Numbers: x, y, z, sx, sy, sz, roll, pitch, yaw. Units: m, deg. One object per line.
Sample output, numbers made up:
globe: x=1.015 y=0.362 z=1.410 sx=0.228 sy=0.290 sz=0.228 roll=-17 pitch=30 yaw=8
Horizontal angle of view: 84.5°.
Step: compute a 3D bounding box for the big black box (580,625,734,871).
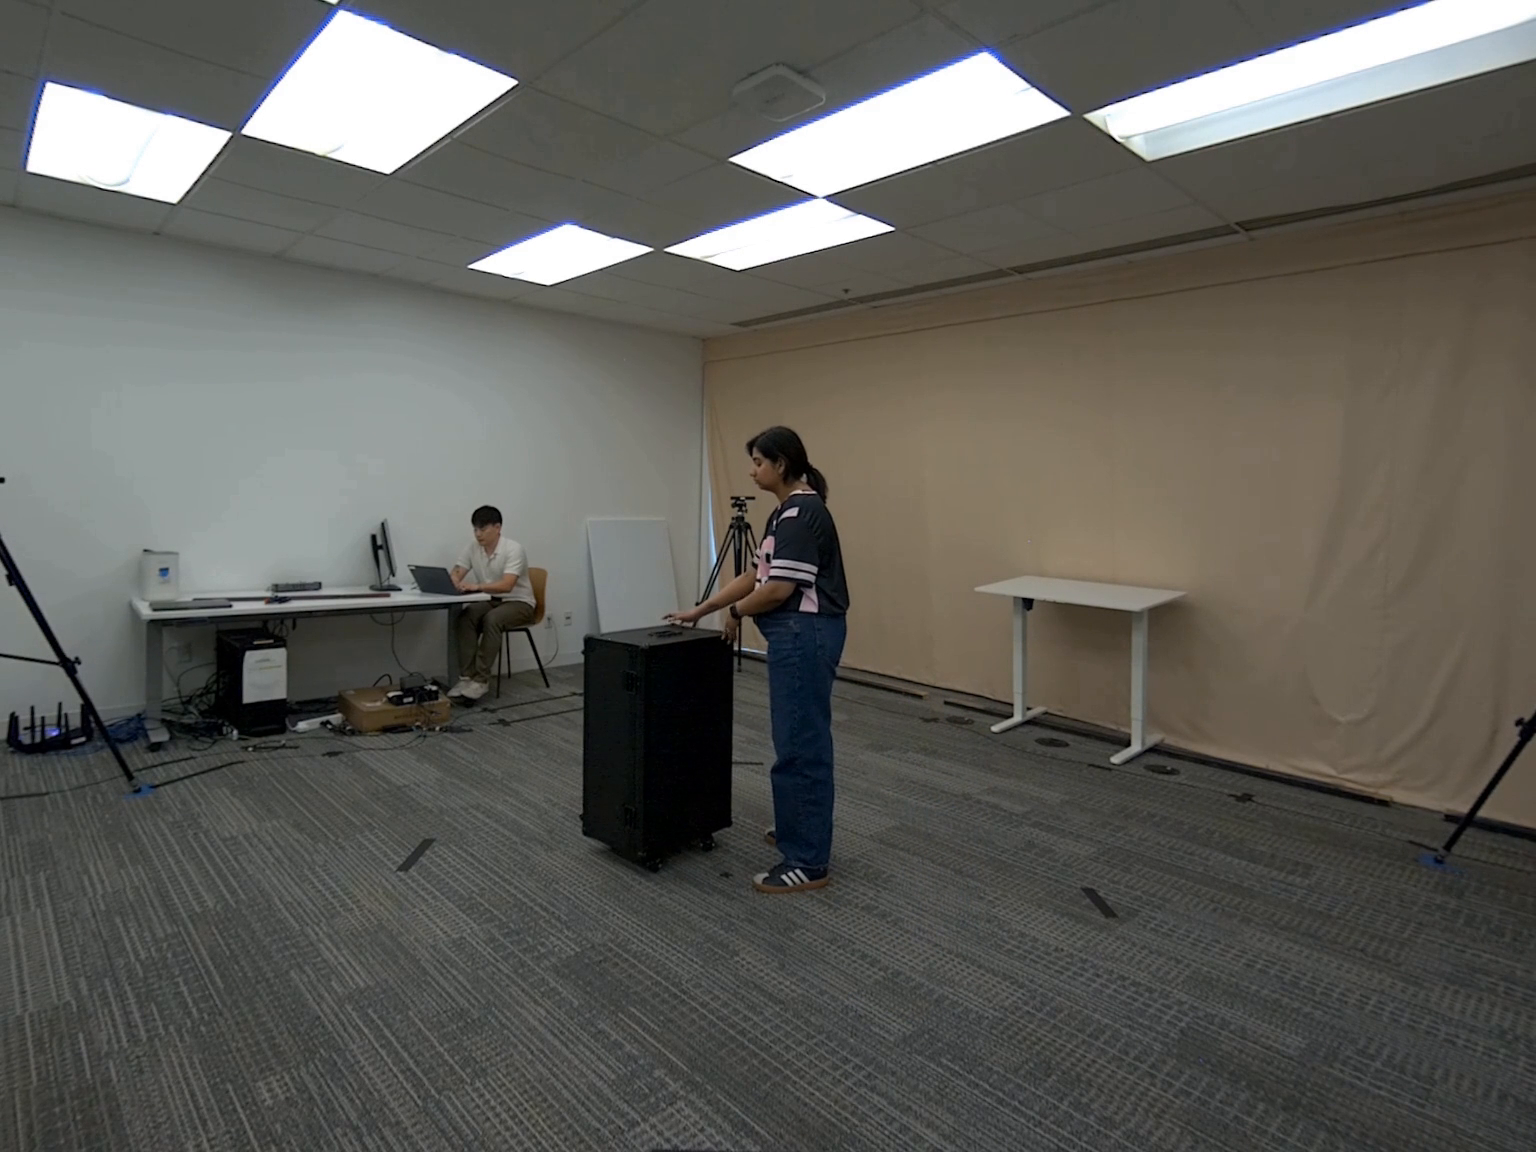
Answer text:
big black box: x=-0.438 y=0.654 z=3.312 sx=0.395 sy=0.867 sz=0.511 roll=3 pitch=3 yaw=40
